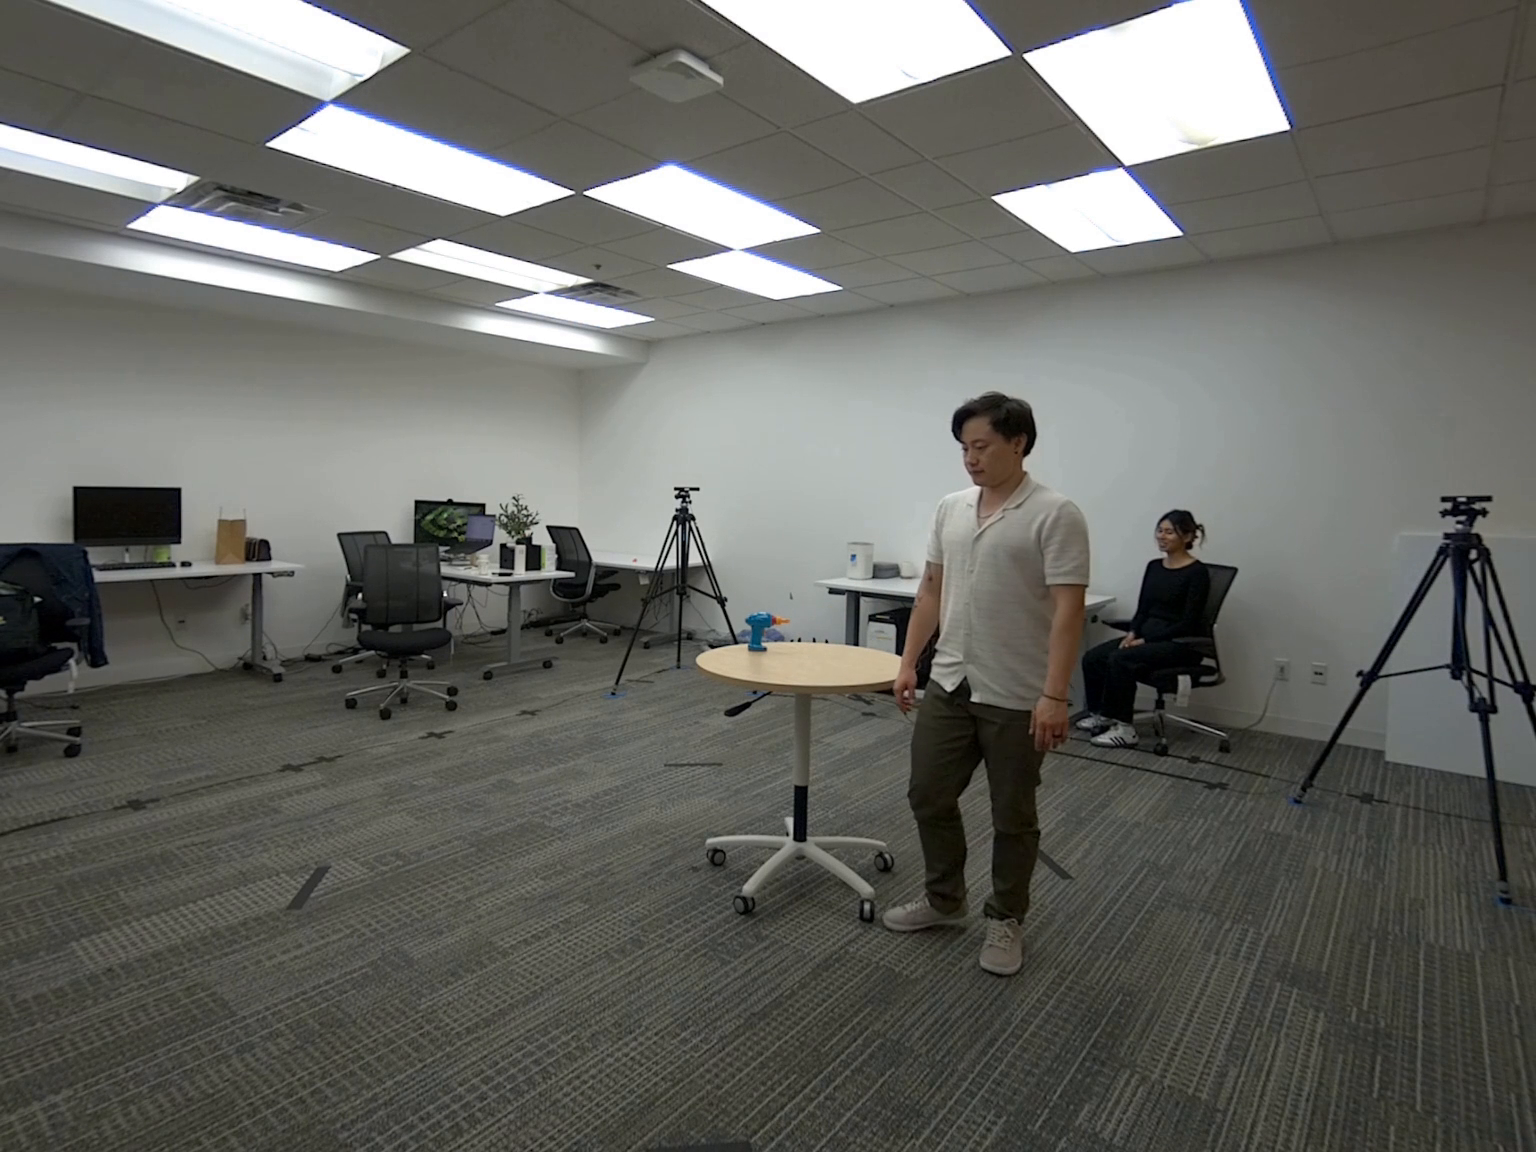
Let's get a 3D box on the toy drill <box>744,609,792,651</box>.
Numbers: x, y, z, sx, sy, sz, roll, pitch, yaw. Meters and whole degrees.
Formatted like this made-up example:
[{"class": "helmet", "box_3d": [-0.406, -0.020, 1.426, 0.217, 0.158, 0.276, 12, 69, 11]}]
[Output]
[{"class": "toy drill", "box_3d": [-0.001, 0.203, 3.207, 0.168, 0.146, 0.062, 0, 2, -7]}]
